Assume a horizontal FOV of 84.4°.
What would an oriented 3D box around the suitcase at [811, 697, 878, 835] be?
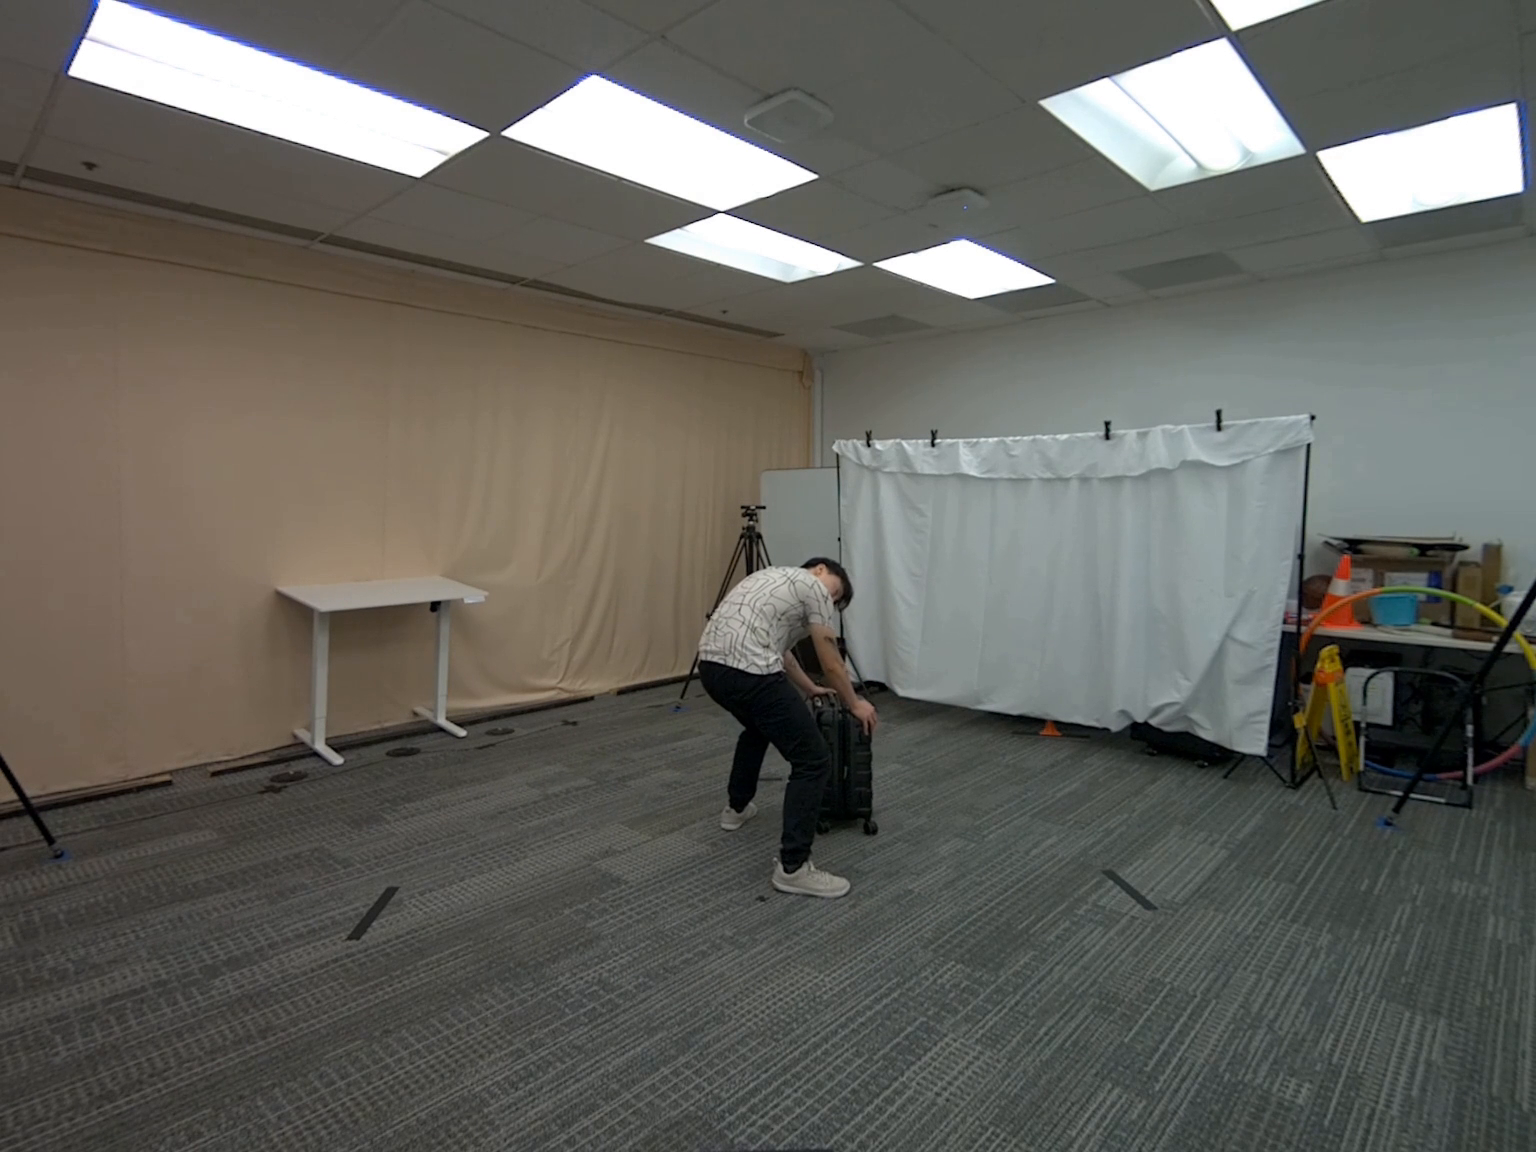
[{"bbox_3d":[0.328,0.807,3.729,0.249,0.548,0.375,0,3,2],"label":"suitcase"}]
